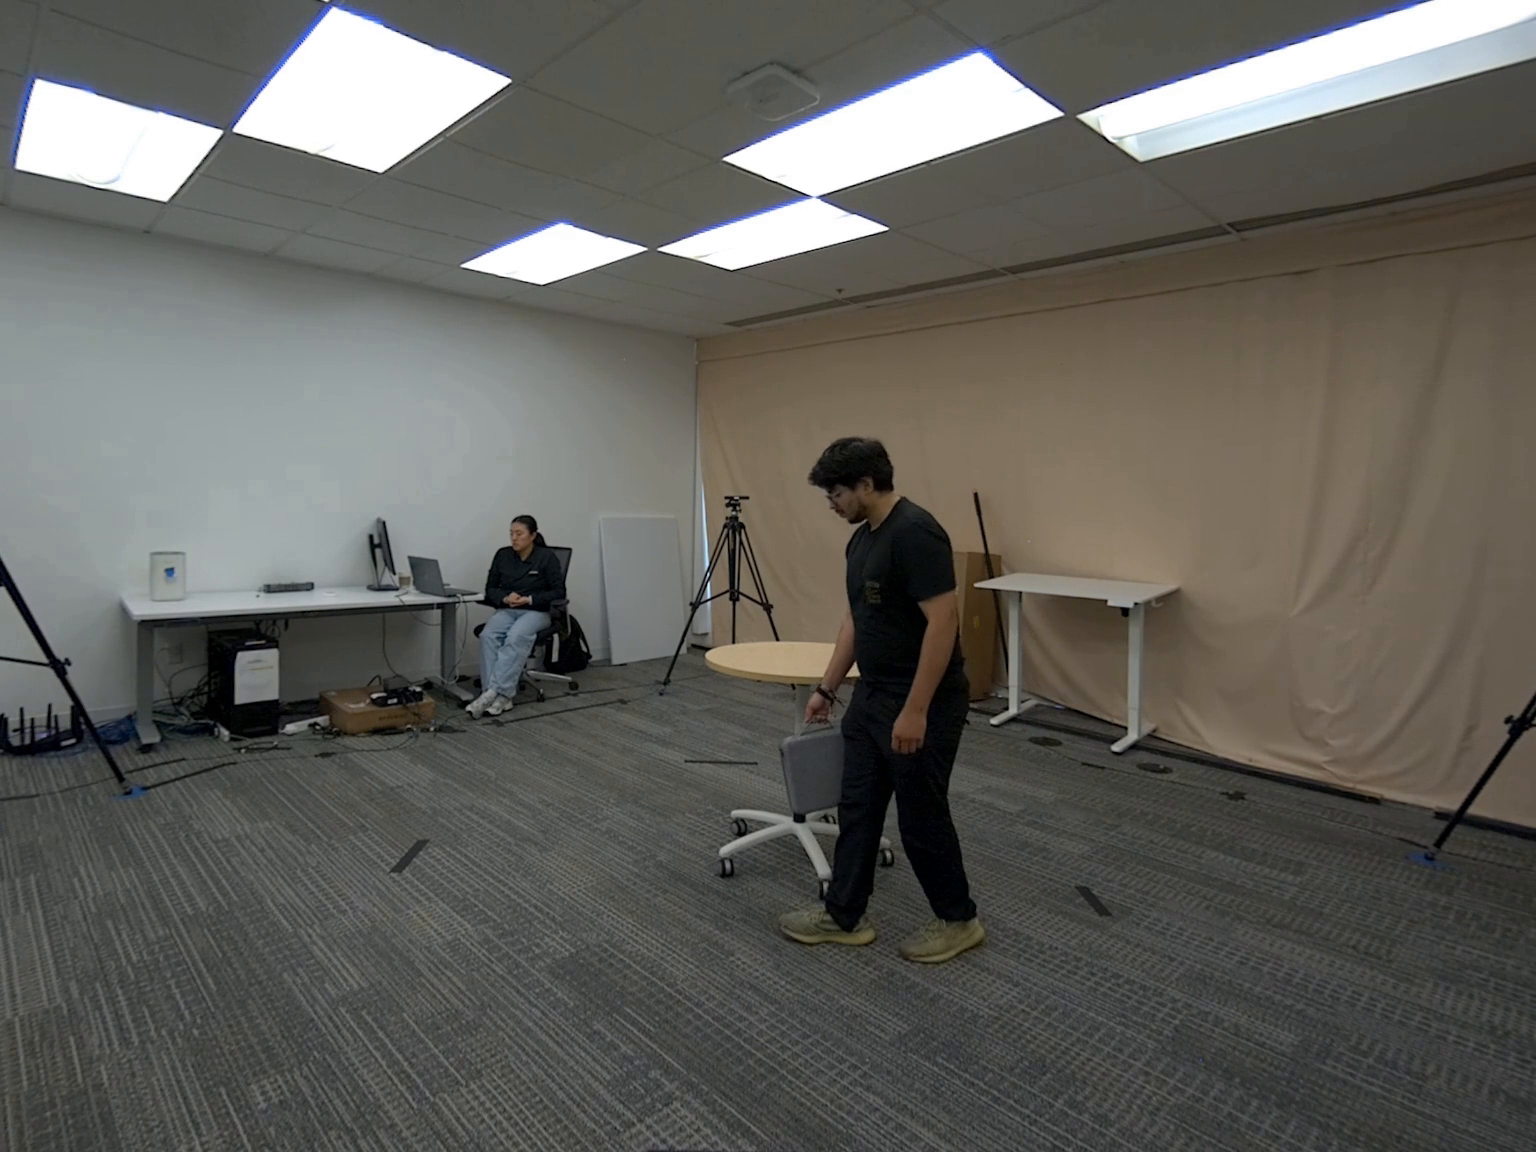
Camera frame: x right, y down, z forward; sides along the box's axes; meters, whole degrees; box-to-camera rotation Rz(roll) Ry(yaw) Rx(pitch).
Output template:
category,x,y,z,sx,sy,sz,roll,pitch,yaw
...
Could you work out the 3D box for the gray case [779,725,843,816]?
category,x,y,z,sx,sy,sz,roll,pitch,yaw
gray case,0.182,0.643,2.815,0.256,0.261,0.104,-10,-4,-2
